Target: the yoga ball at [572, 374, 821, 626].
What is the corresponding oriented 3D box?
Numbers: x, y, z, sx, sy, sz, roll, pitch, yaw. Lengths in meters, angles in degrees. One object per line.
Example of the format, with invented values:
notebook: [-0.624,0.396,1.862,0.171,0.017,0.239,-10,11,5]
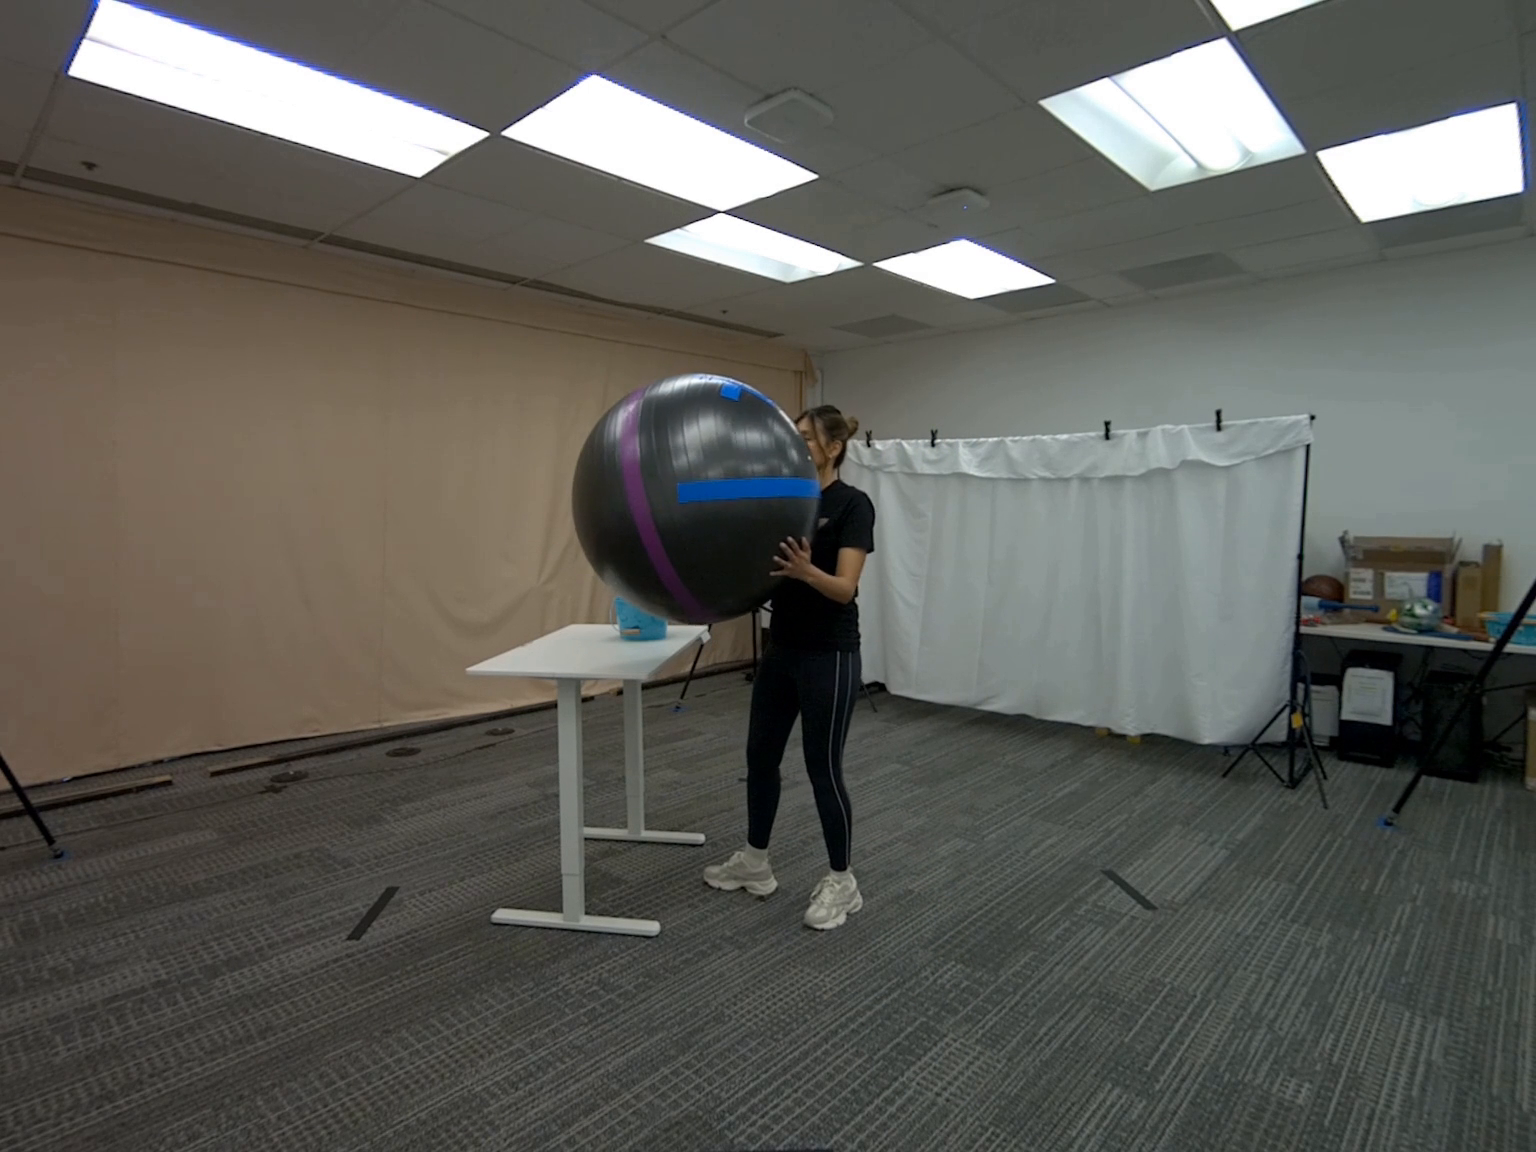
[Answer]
yoga ball: [-0.222,-0.231,2.582,0.757,0.756,0.761,0,4,-2]
